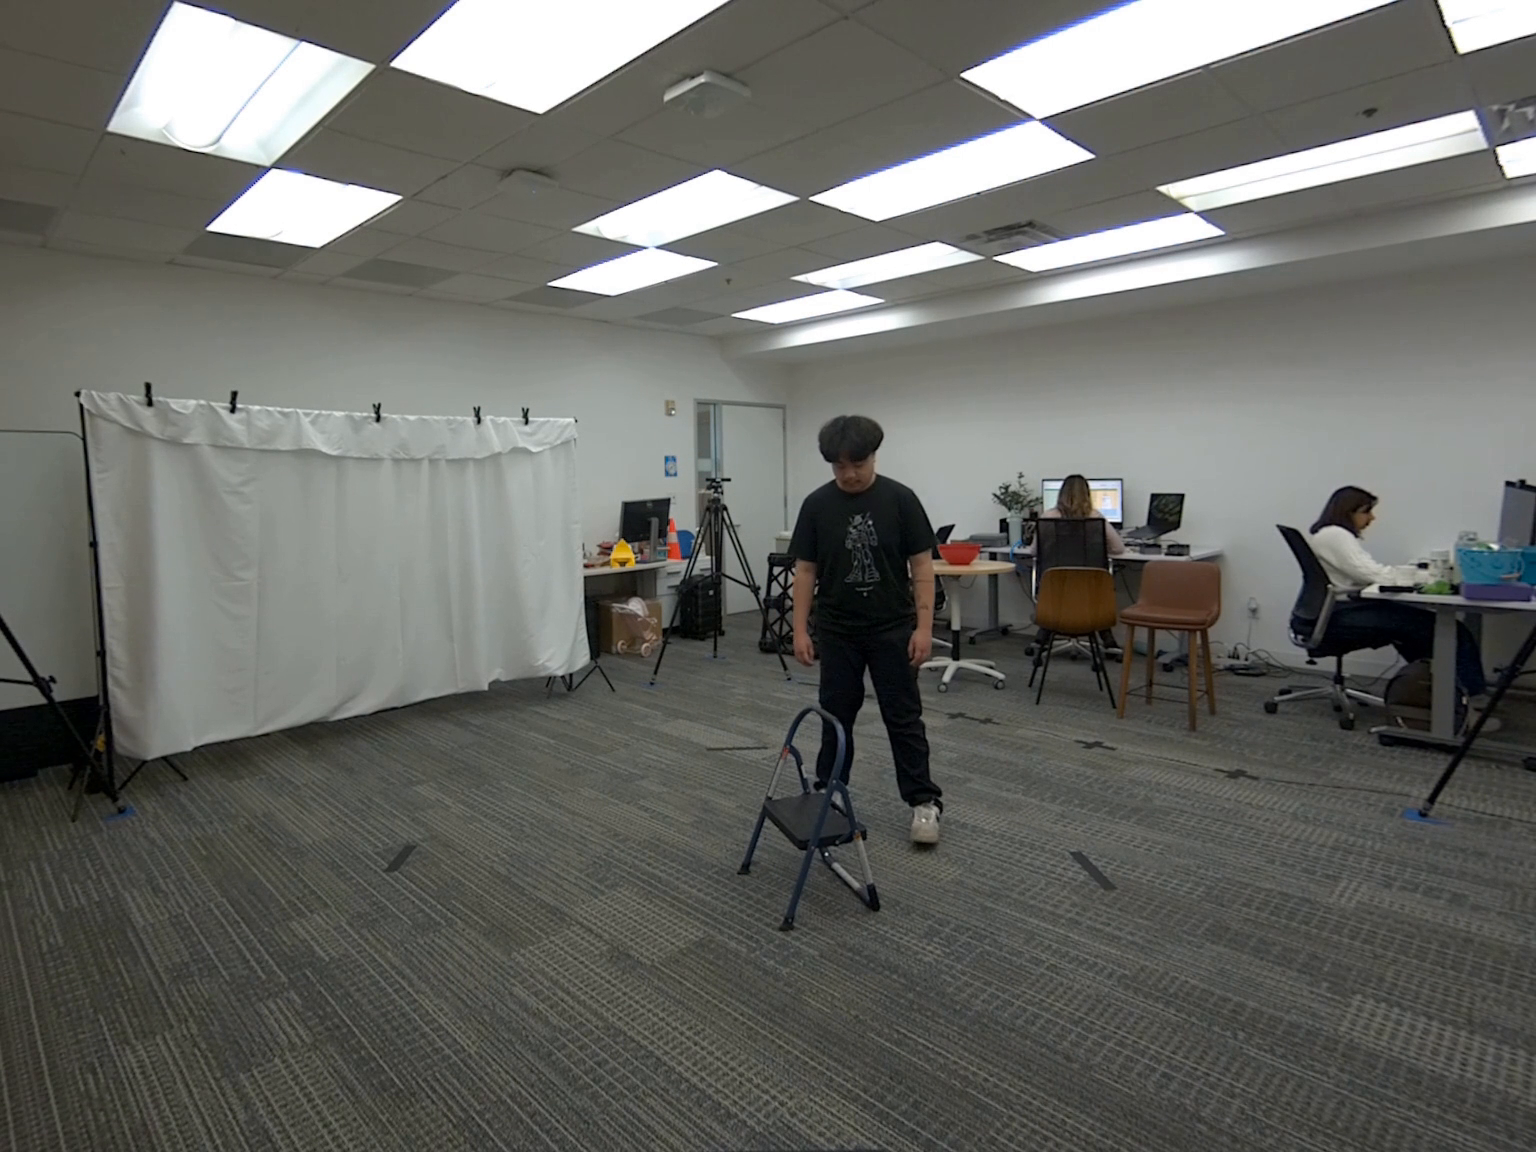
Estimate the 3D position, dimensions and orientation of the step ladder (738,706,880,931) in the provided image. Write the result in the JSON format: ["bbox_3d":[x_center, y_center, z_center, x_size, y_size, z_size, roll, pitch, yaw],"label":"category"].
[{"bbox_3d":[0.128,0.761,2.866,0.343,0.604,0.440,-3,5,-20],"label":"step ladder"}]
